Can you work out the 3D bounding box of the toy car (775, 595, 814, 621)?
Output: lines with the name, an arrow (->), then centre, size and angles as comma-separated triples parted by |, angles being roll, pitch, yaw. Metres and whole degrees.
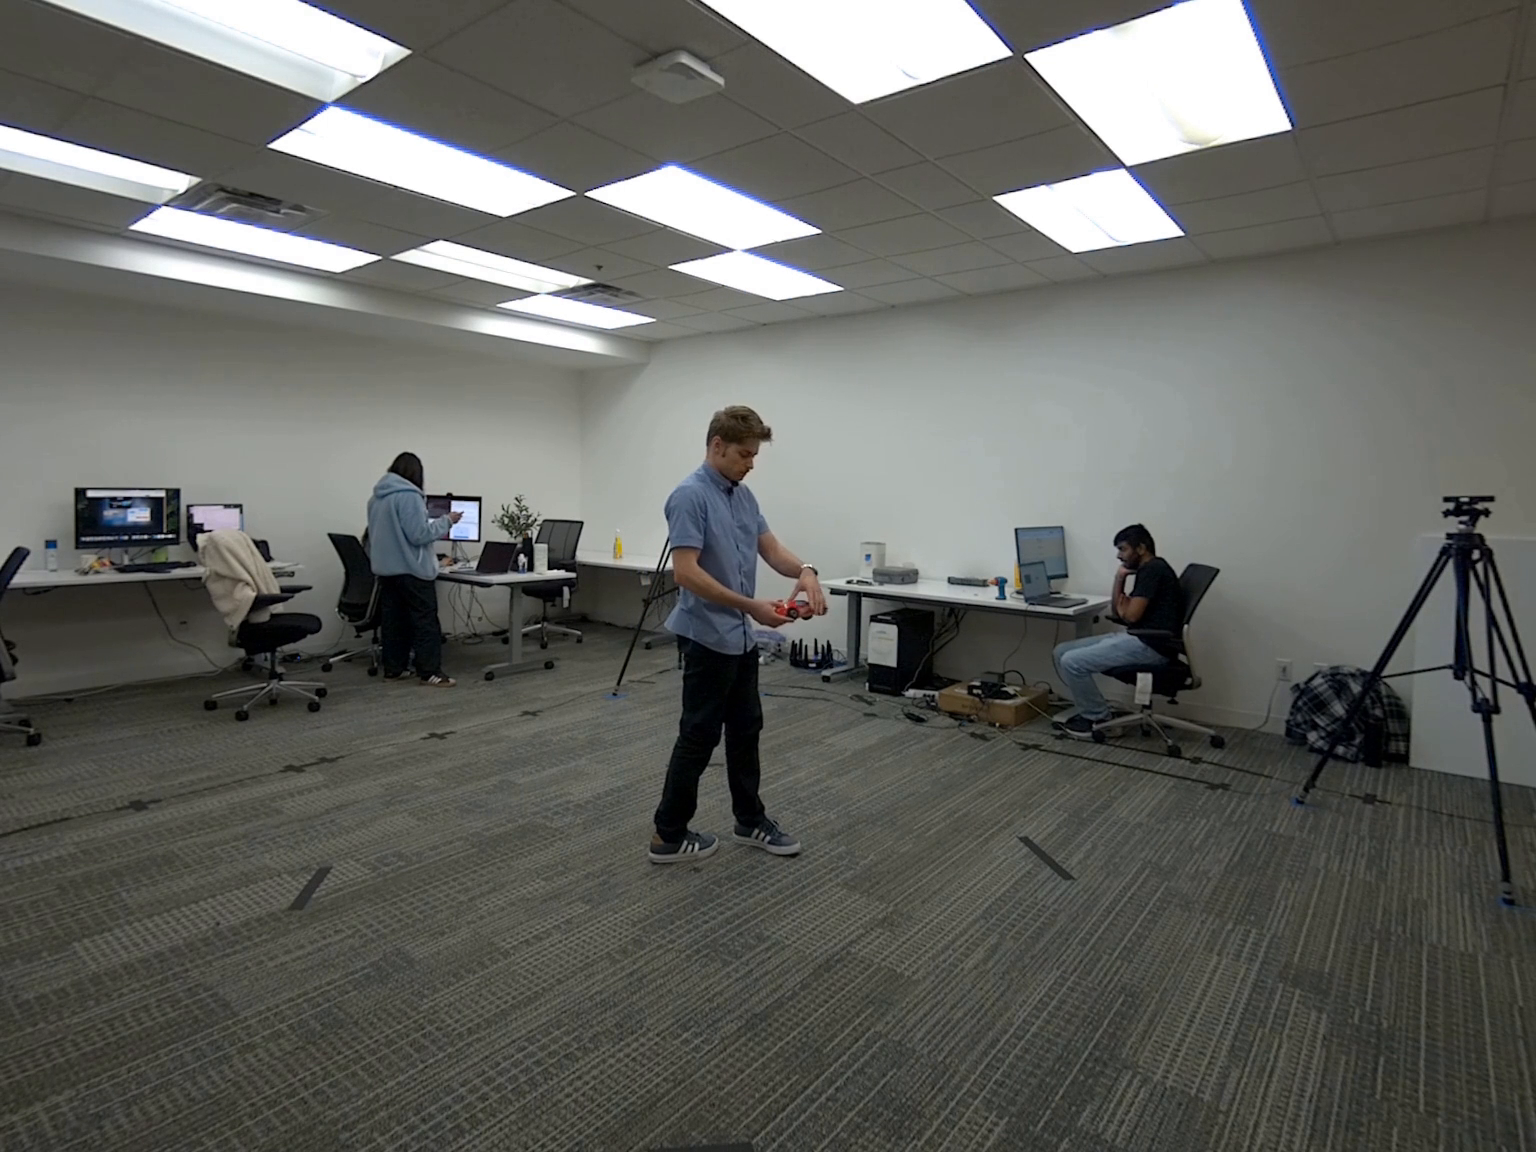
toy car -> 0.082, 0.132, 3.088 | 0.247, 0.084, 0.132 | 6, -15, -33
